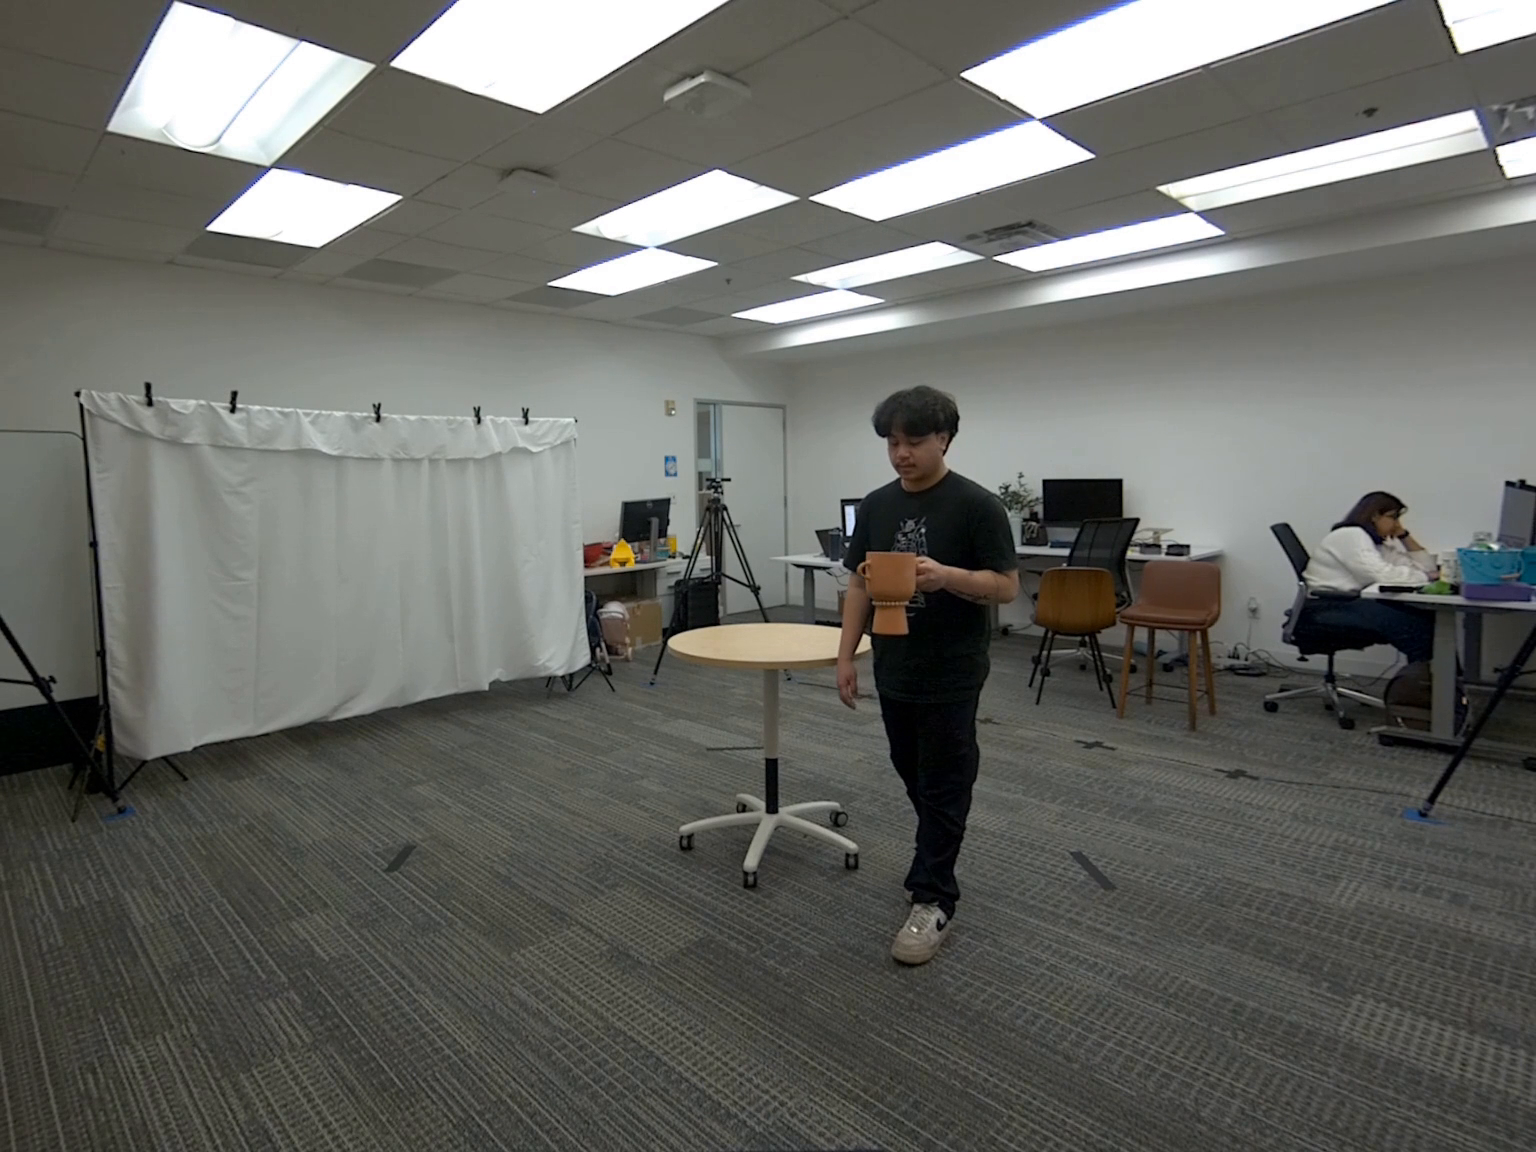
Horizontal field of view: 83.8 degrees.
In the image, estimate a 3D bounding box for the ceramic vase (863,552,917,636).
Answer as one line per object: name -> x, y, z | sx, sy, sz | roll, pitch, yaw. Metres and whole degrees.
ceramic vase -> 0.344, 0.047, 2.343 | 0.162, 0.220, 0.132 | 1, 1, 18
